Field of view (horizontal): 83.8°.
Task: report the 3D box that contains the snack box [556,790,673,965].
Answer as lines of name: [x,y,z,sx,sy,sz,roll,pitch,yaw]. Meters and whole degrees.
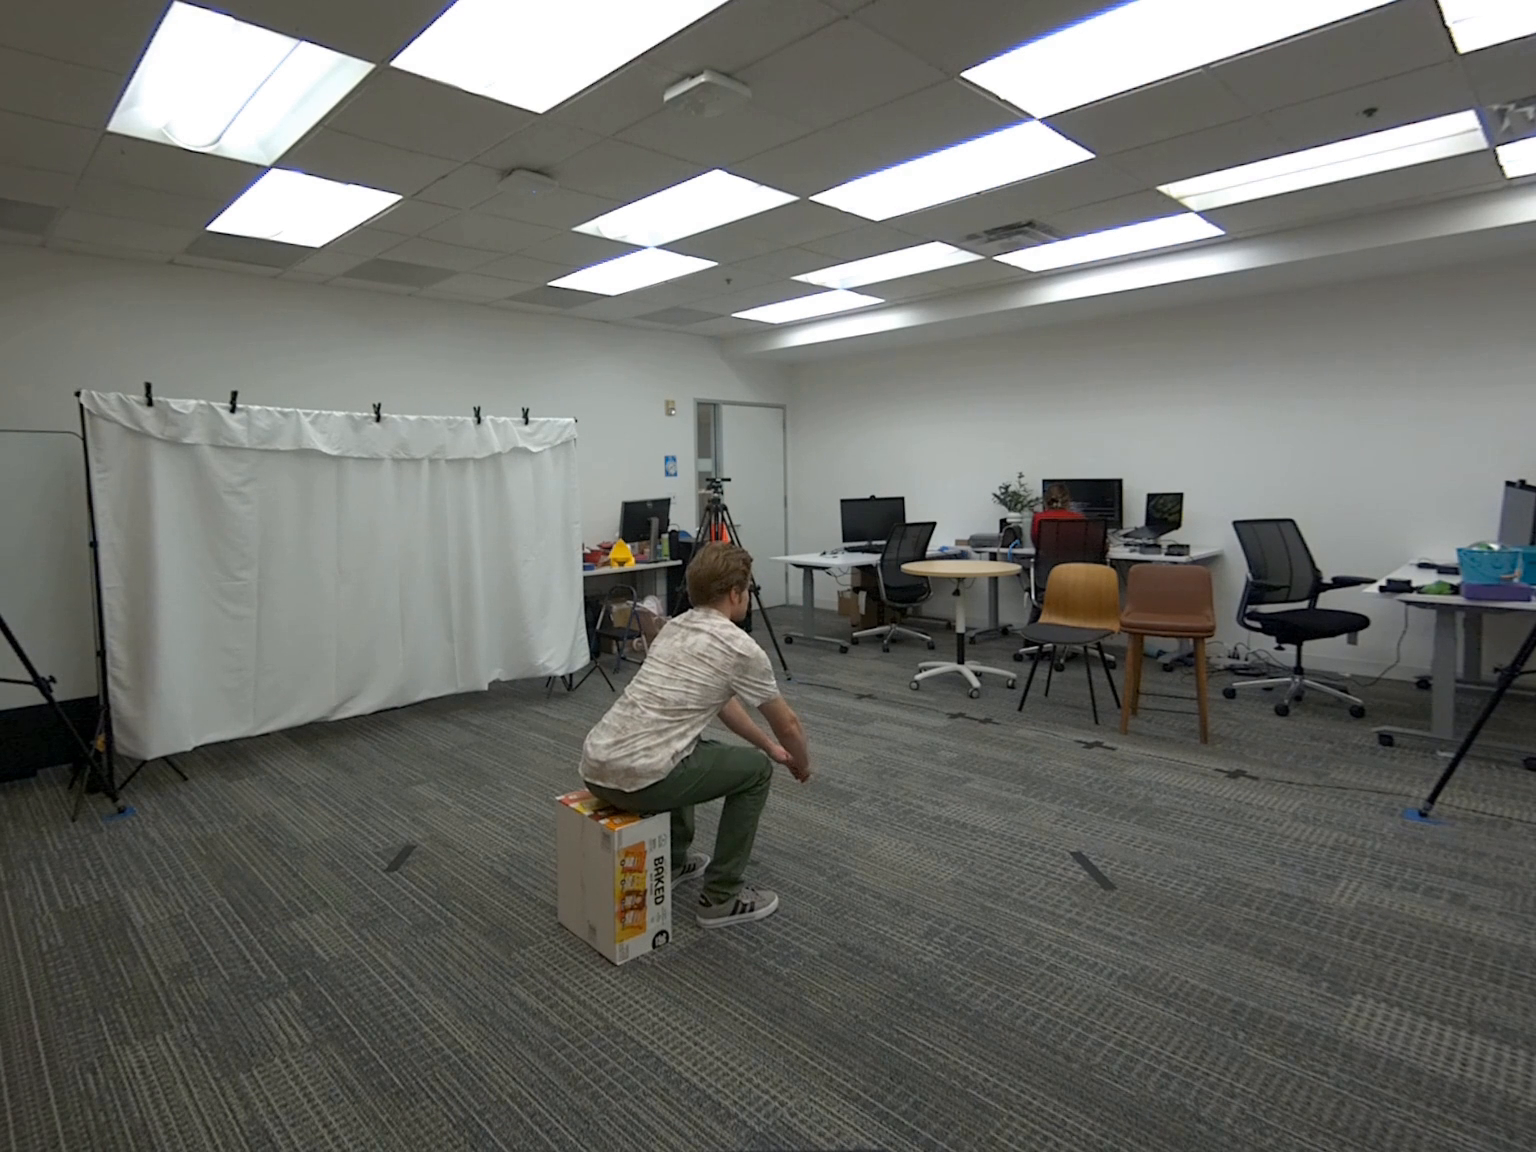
snack box: [-0.479,0.905,2.637,0.200,0.404,0.351,-4,6,-42]
